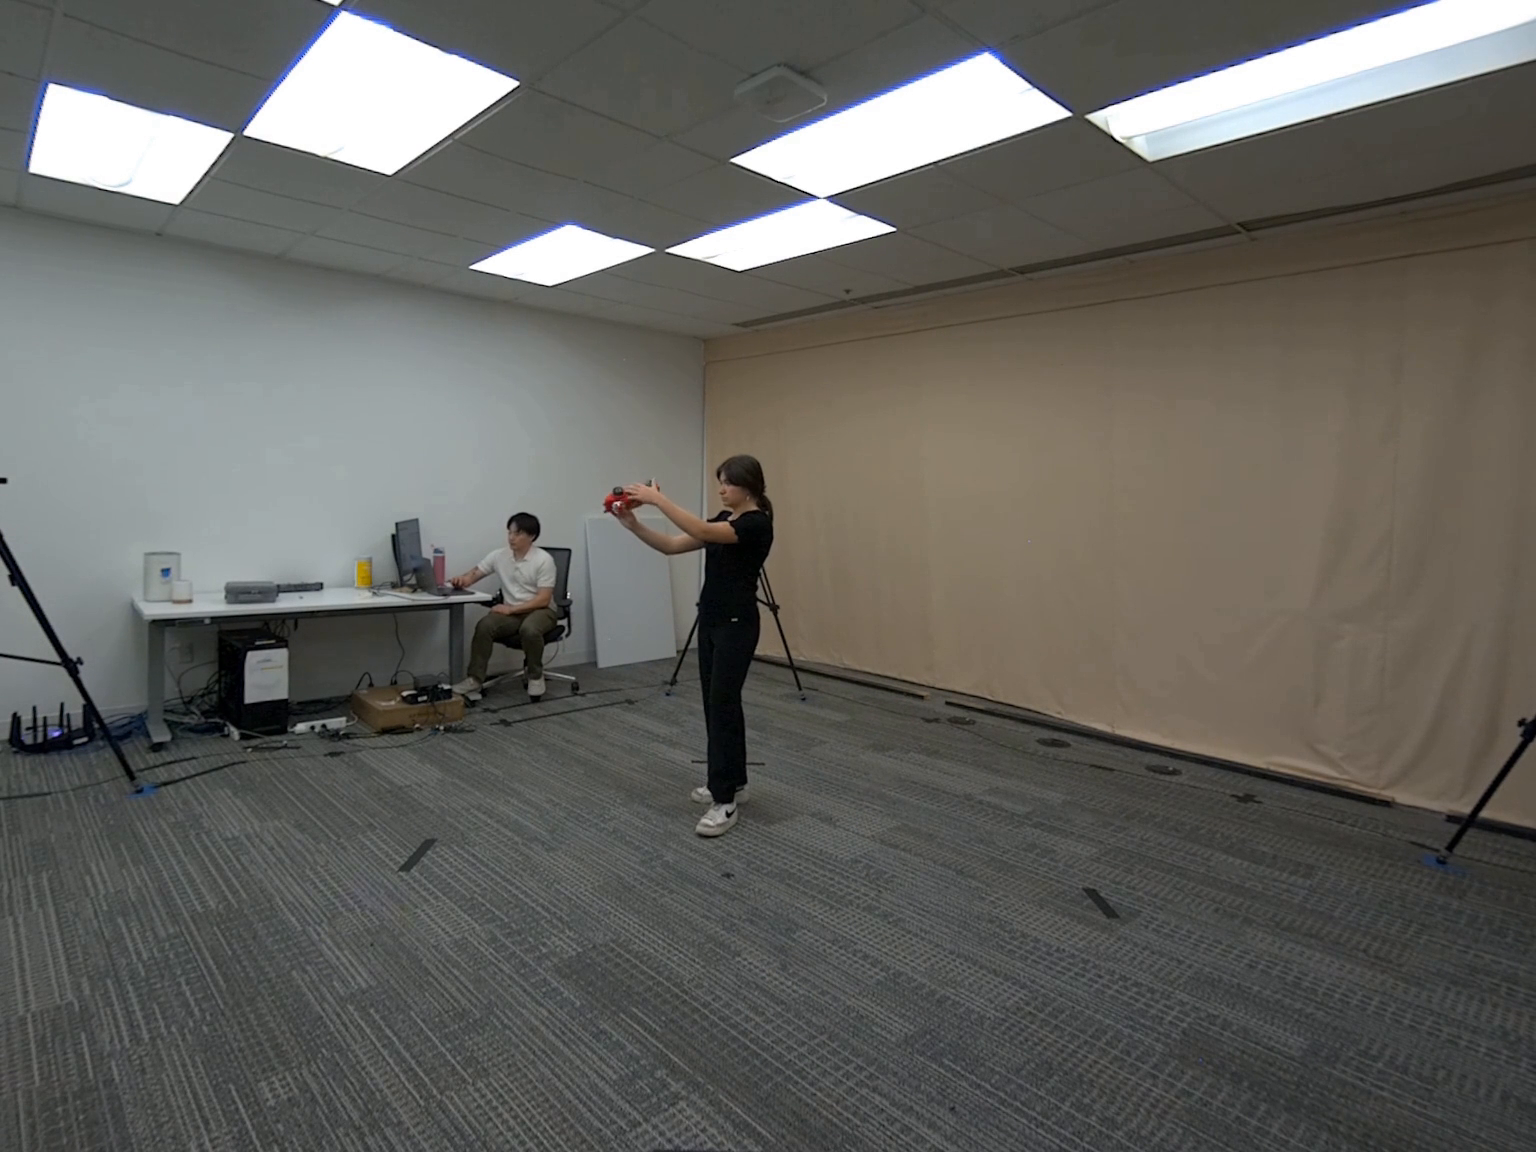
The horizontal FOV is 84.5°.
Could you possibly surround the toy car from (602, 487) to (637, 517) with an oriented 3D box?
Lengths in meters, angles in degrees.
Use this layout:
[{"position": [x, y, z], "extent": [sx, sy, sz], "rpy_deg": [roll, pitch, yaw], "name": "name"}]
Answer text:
[{"position": [-0.604, -0.335, 3.613], "extent": [0.252, 0.085, 0.128], "rpy_deg": [-26, -26, -21], "name": "toy car"}]
